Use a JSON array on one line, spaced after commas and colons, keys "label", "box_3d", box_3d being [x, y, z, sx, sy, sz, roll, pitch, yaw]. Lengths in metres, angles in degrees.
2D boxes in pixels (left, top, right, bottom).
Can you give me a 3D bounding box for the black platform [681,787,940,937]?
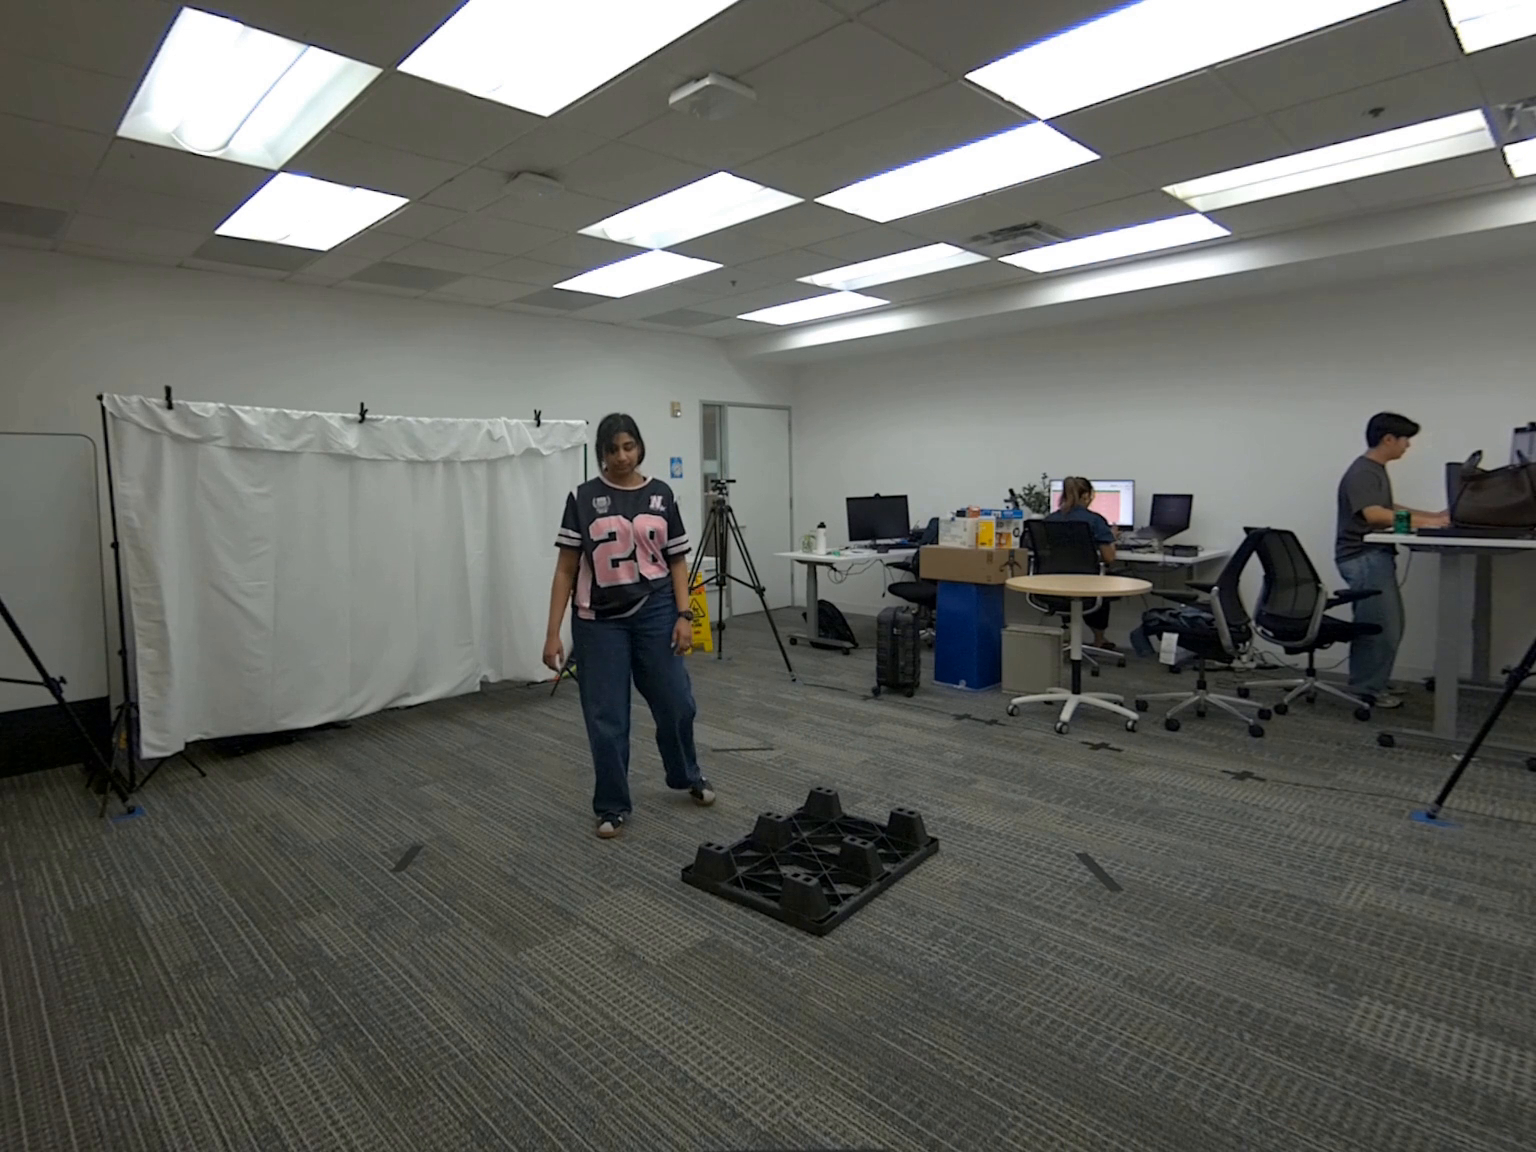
[{"label": "black platform", "box_3d": [0.172, 0.981, 3.080, 0.623, 0.143, 0.785, 3, 8, 39]}]
